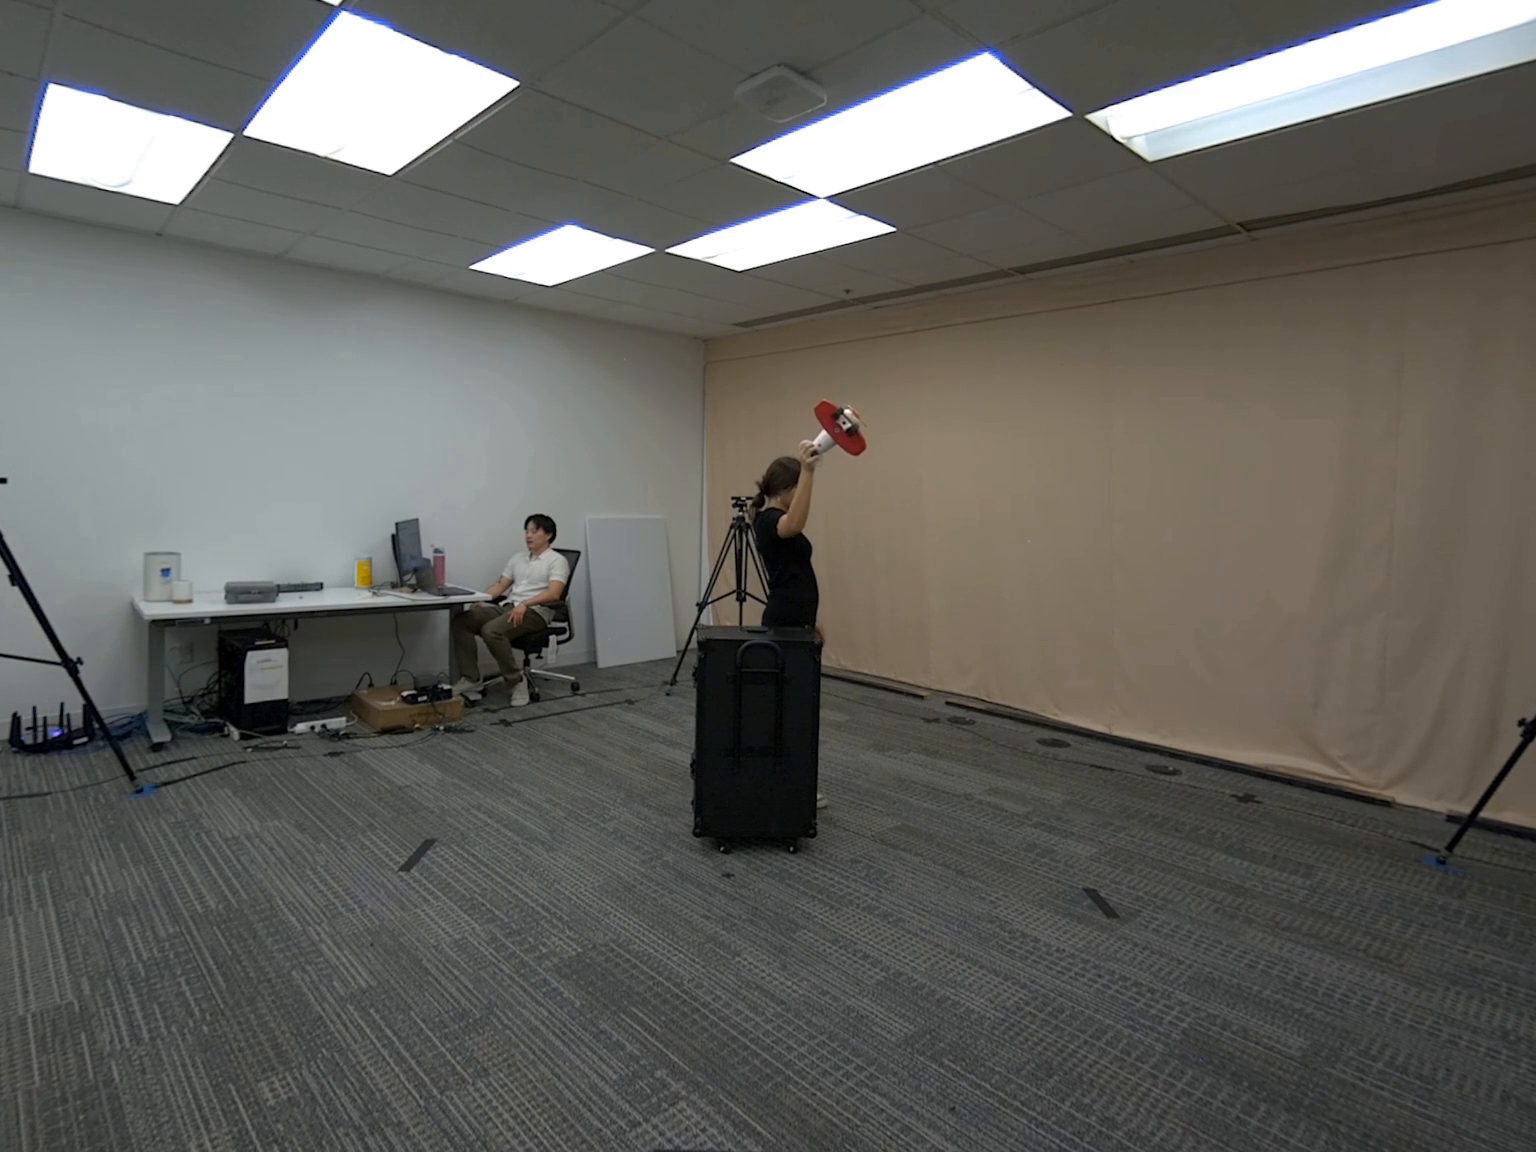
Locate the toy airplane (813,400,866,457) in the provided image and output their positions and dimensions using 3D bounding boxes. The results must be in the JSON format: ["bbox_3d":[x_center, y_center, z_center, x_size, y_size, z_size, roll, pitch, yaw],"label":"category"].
[{"bbox_3d":[0.231,-0.571,3.325,0.263,0.249,0.155,-11,9,22],"label":"toy airplane"}]
